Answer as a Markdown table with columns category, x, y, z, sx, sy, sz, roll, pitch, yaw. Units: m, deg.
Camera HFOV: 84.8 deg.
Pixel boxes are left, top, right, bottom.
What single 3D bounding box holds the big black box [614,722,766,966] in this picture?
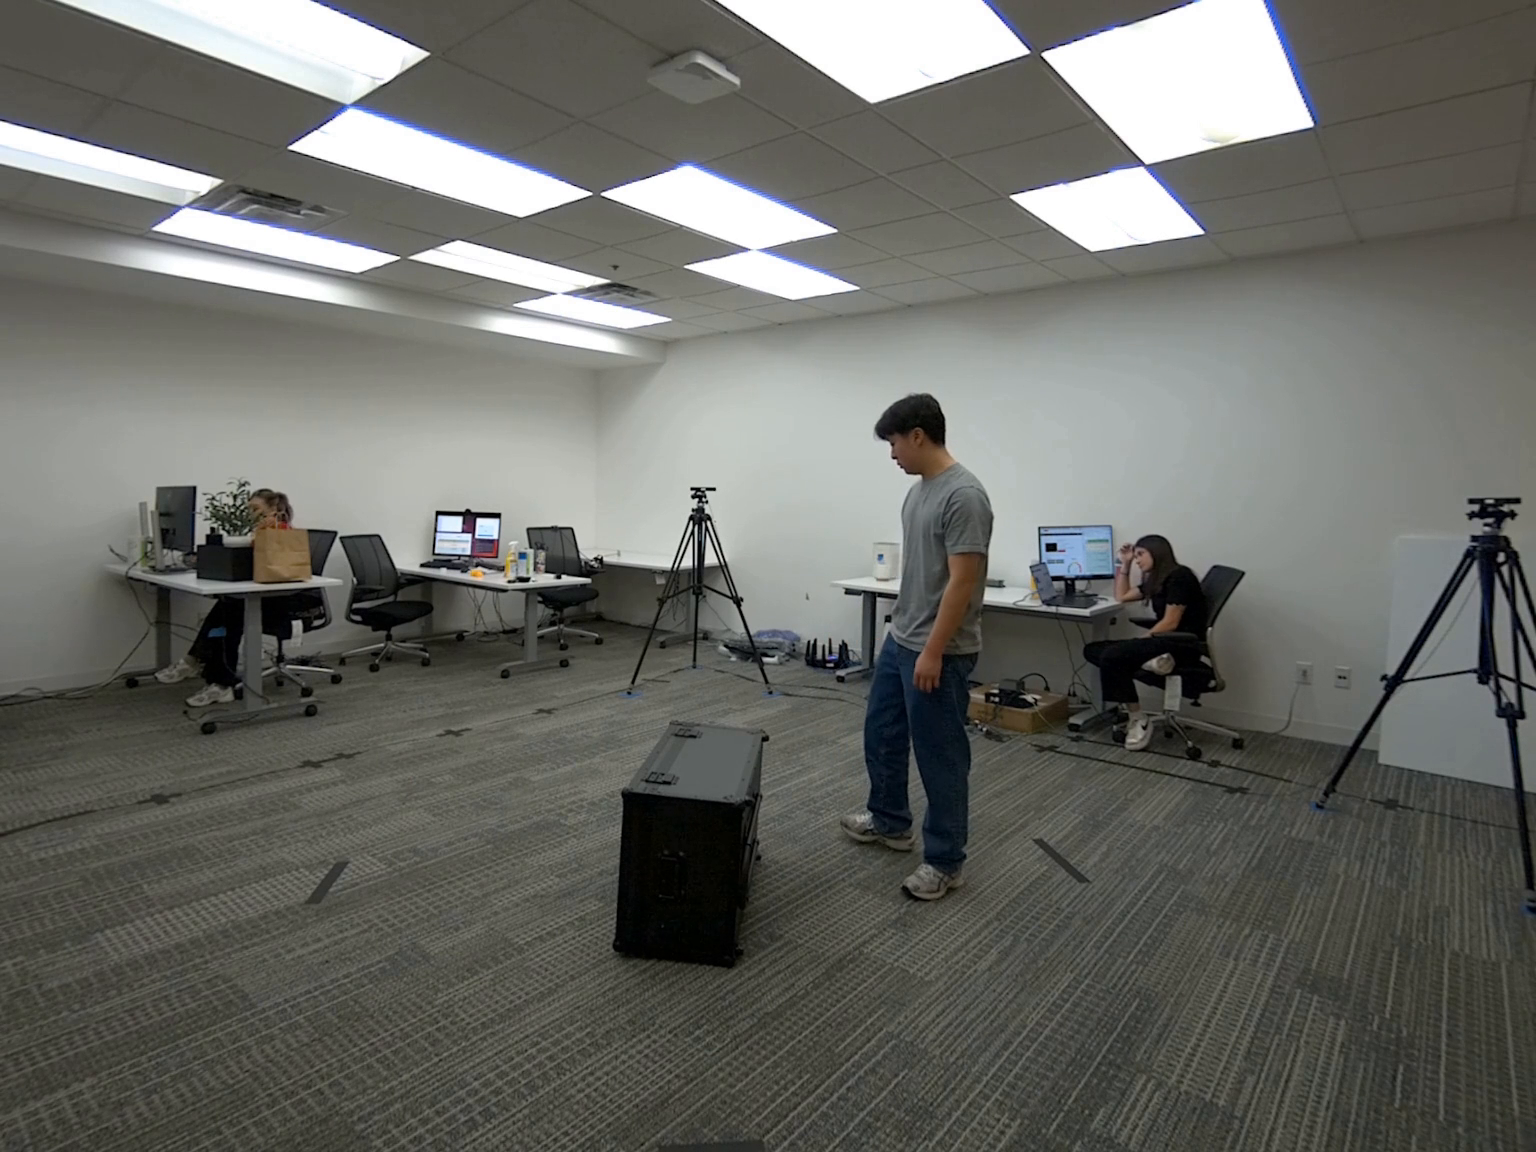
| category | x | y | z | sx | sy | sz | roll | pitch | yaw |
| --- | --- | --- | --- | --- | --- | --- | --- | --- | --- |
| big black box | -0.235 | 0.843 | 2.818 | 0.399 | 0.519 | 0.858 | 3 | 5 | 5 |
